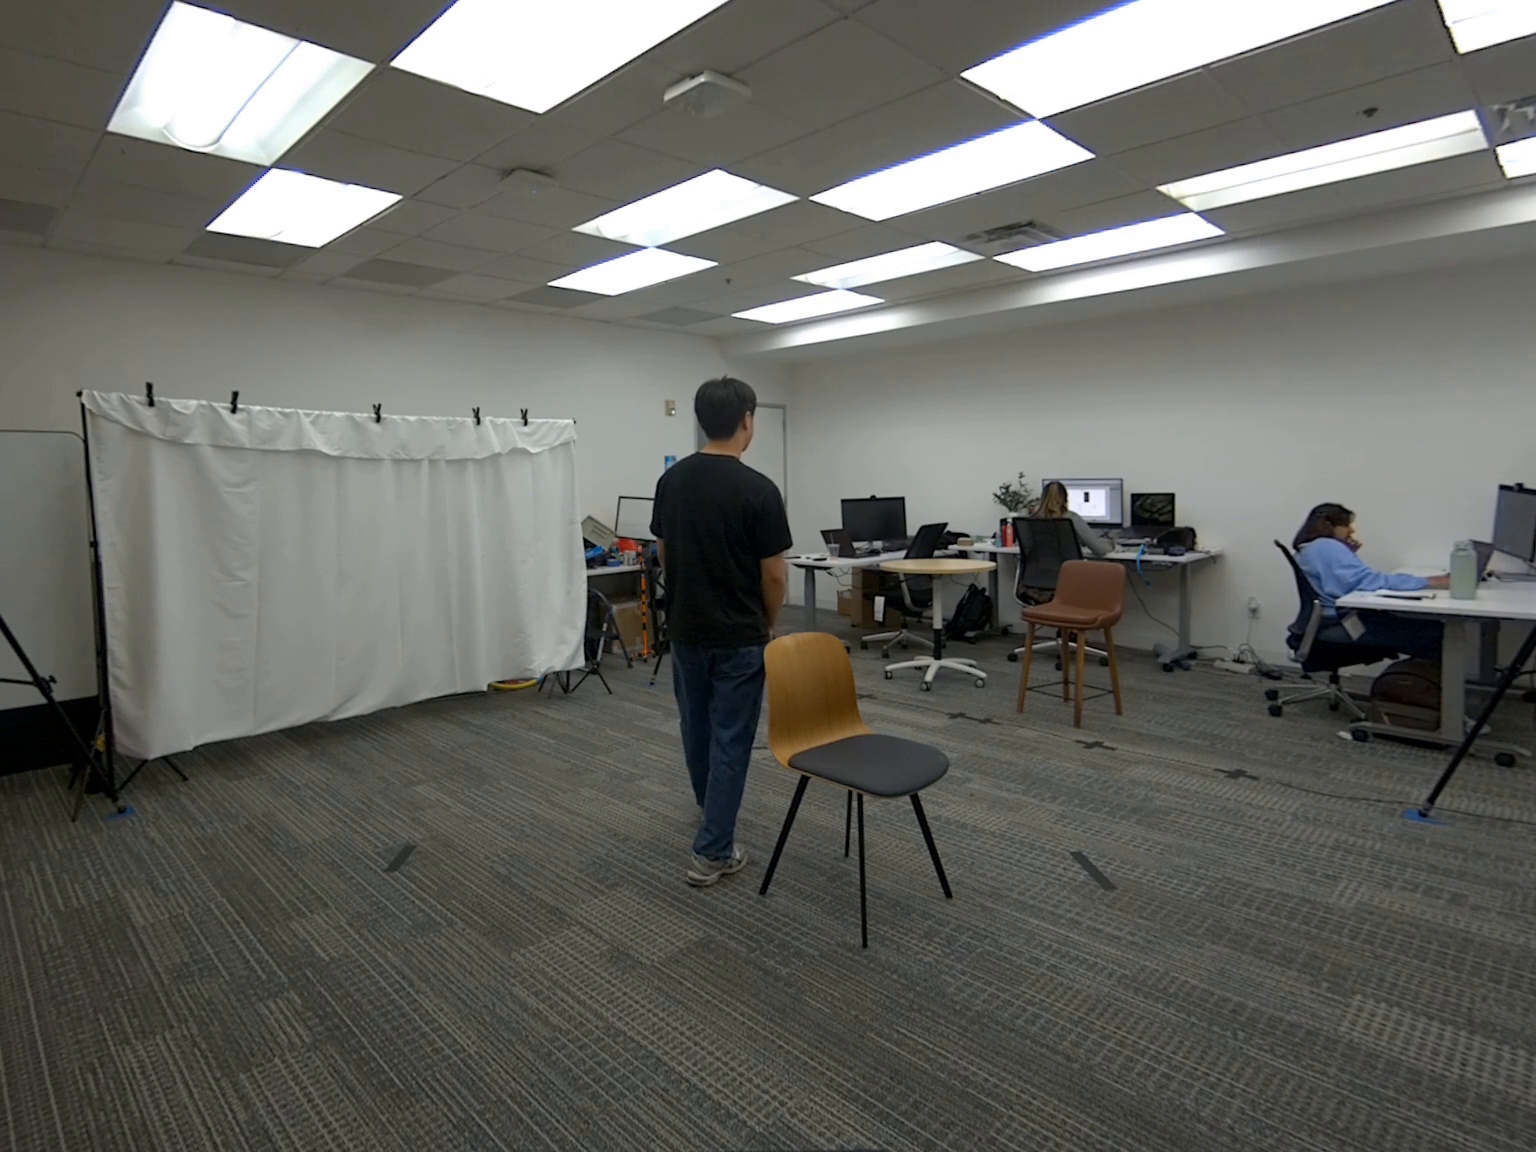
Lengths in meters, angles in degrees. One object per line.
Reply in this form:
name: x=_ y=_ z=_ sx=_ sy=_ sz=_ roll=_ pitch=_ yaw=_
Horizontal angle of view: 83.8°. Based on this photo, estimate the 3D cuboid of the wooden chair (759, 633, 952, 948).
wooden chair: x=0.290 y=0.641 z=2.805 sx=0.465 sy=0.877 sz=0.537 roll=-5 pitch=1 yaw=-42
